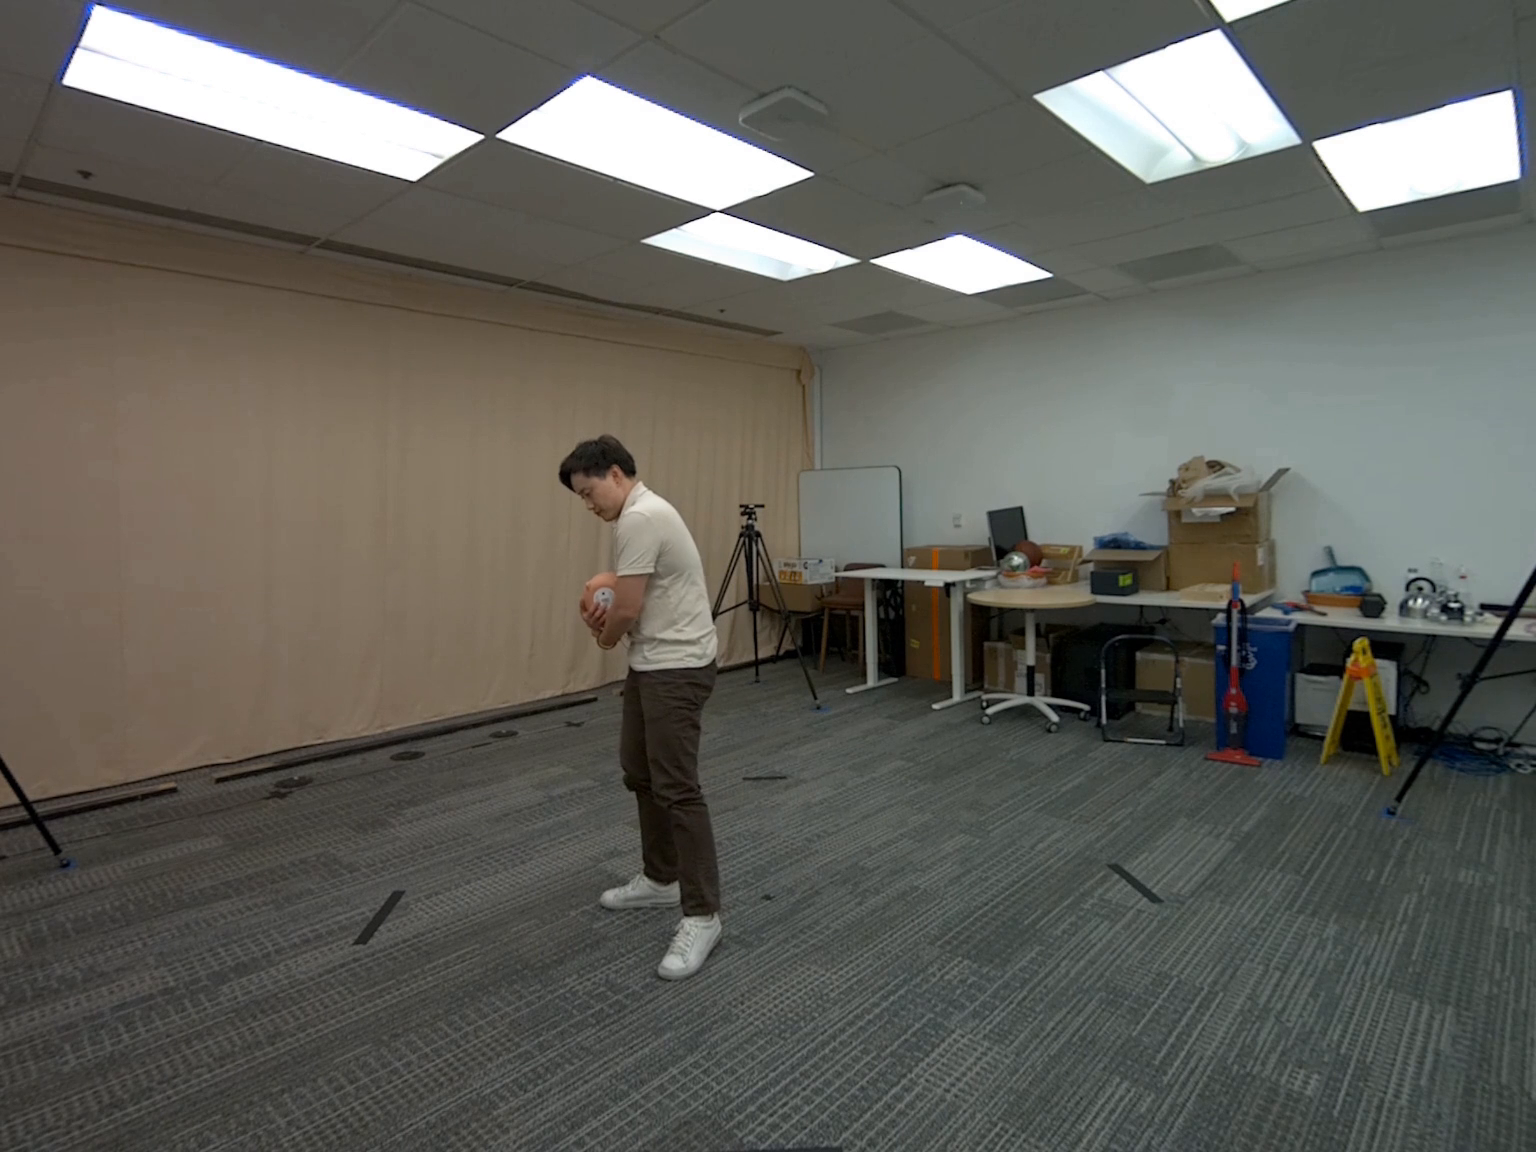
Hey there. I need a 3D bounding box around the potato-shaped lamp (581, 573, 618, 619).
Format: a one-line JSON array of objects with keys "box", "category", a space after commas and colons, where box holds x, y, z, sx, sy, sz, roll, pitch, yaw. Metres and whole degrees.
[{"box": [-0.531, 0.066, 2.891, 0.165, 0.170, 0.199, -10, 12, 4], "category": "potato-shaped lamp"}]
